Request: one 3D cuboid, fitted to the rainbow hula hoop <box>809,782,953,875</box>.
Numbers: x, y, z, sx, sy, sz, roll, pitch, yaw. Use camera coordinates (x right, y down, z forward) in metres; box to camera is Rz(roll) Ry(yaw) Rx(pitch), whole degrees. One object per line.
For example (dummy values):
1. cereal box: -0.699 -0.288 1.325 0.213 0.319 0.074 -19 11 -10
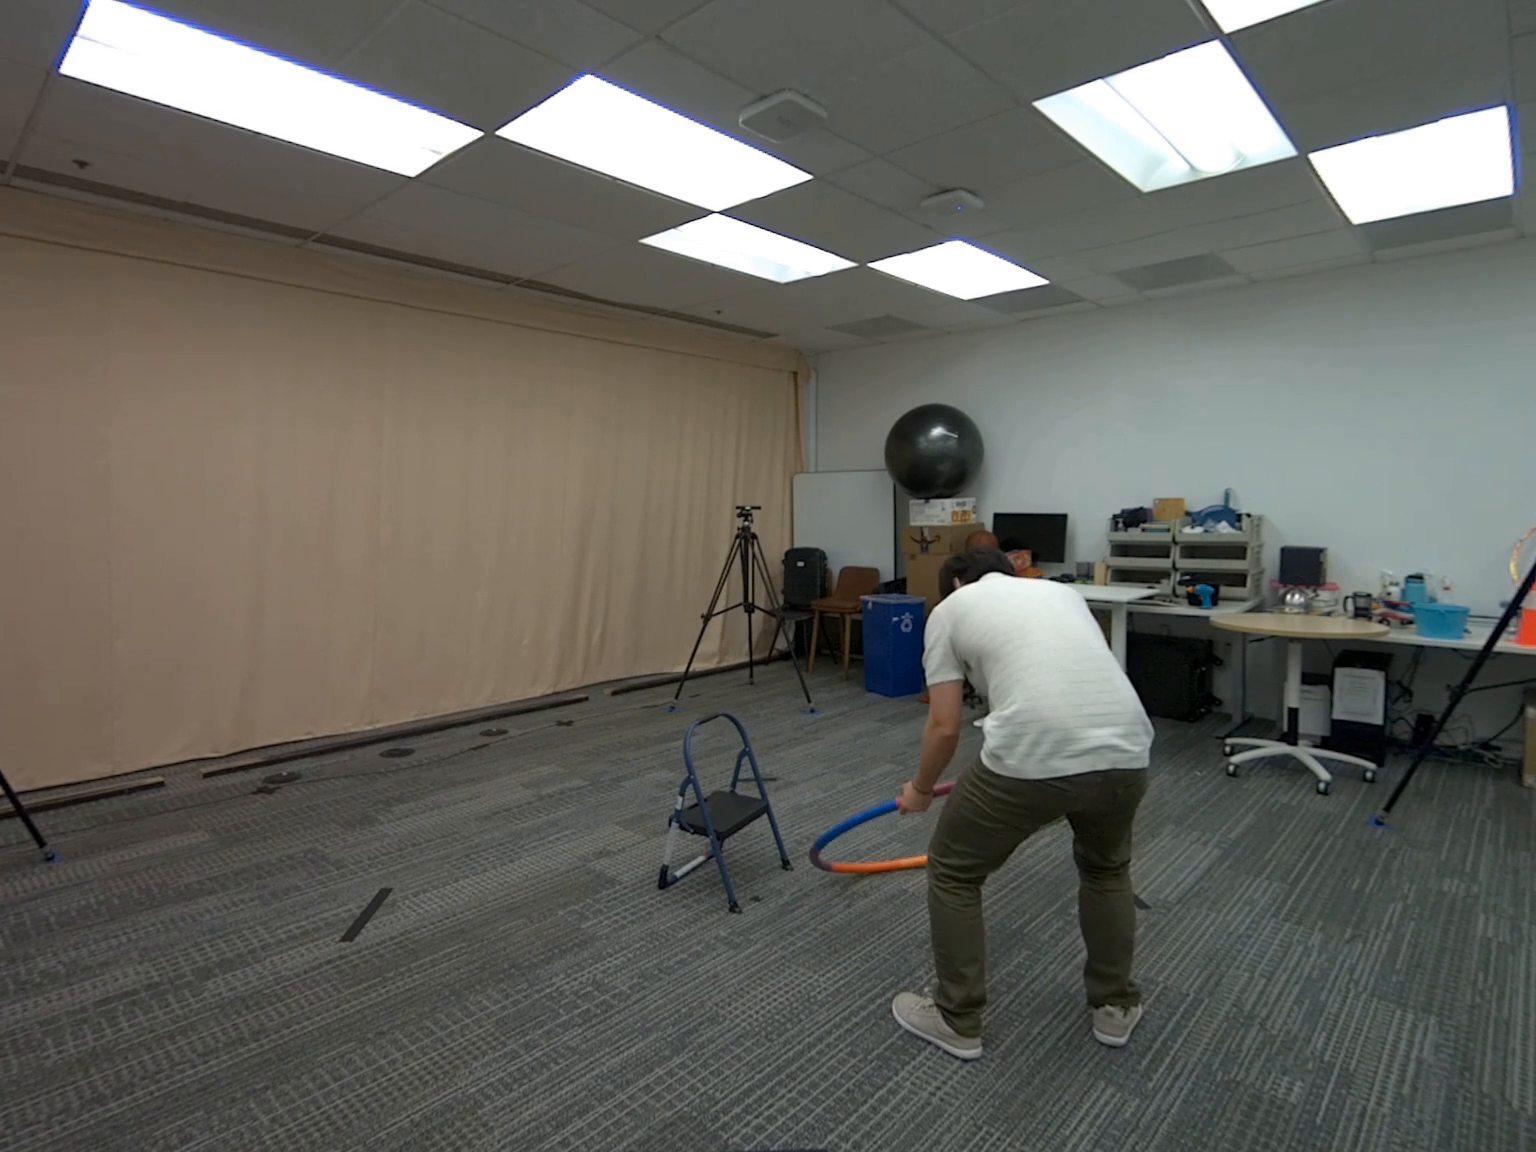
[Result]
1. rainbow hula hoop: 0.620 0.847 2.836 0.973 0.036 0.963 -8 -31 -7
